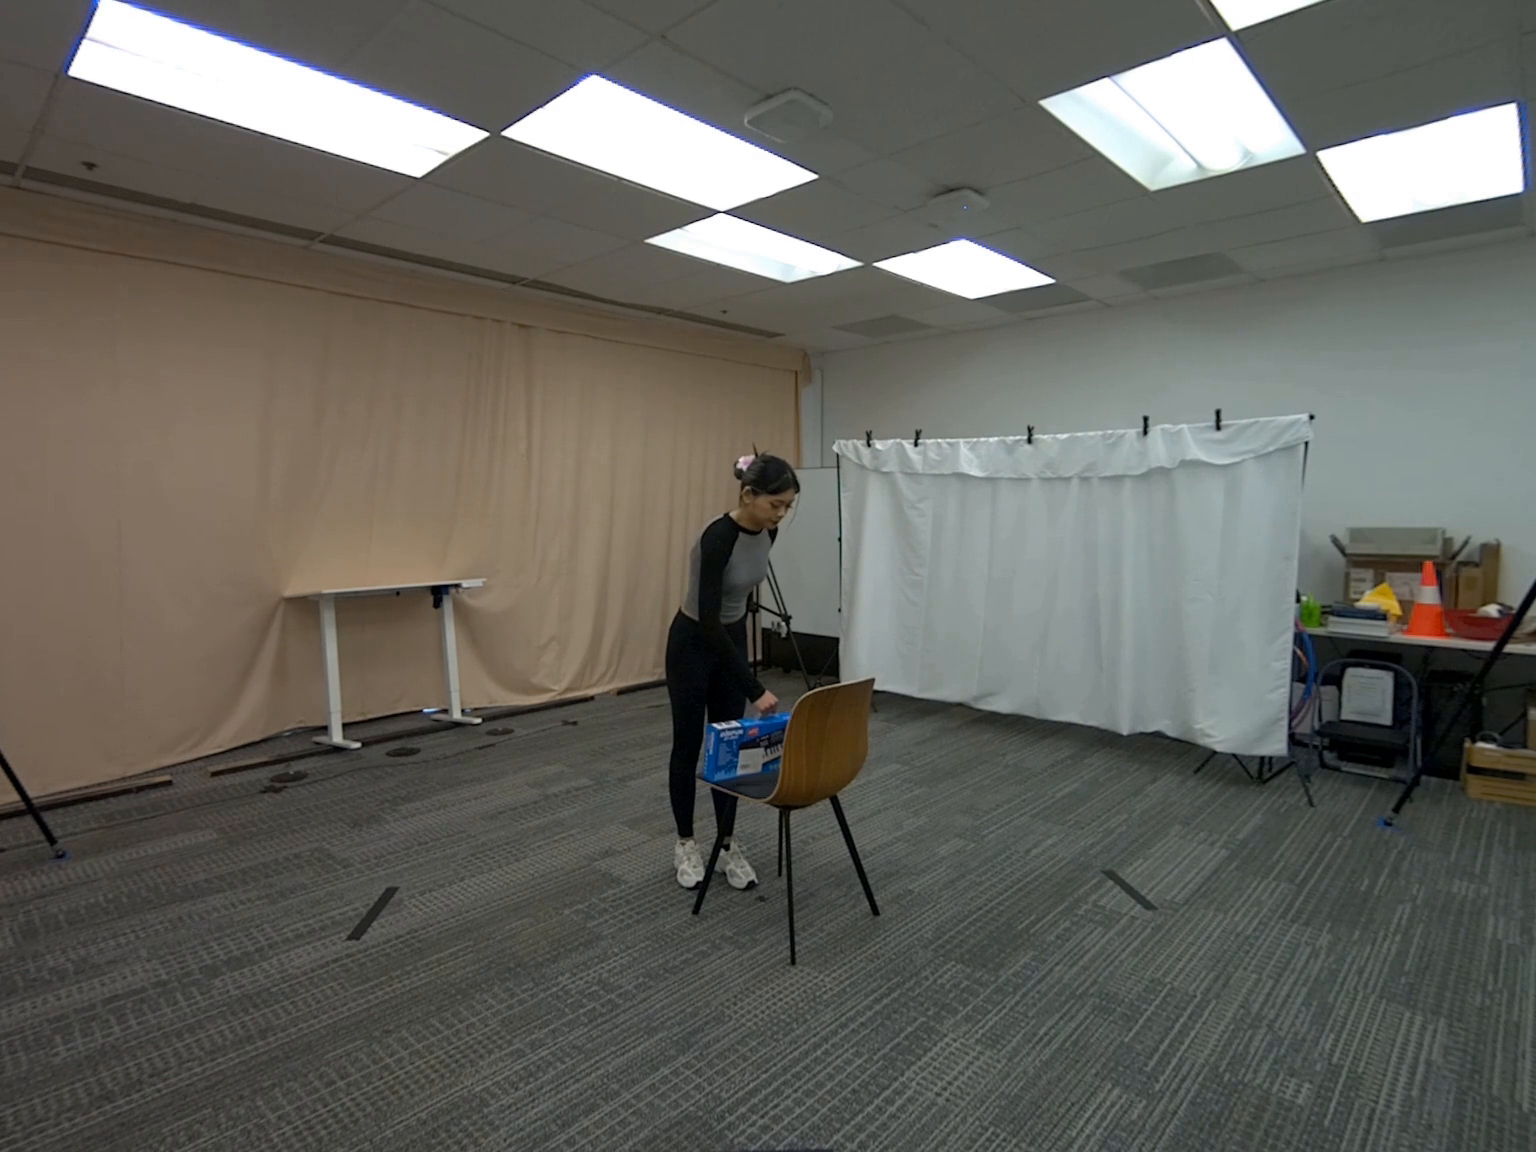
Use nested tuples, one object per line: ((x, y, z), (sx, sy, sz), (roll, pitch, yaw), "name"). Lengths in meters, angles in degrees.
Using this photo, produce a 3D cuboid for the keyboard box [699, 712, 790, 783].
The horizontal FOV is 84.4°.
((-0.008, 0.554, 2.744), (0.424, 0.175, 0.061), (0, 9, -35), "keyboard box")
